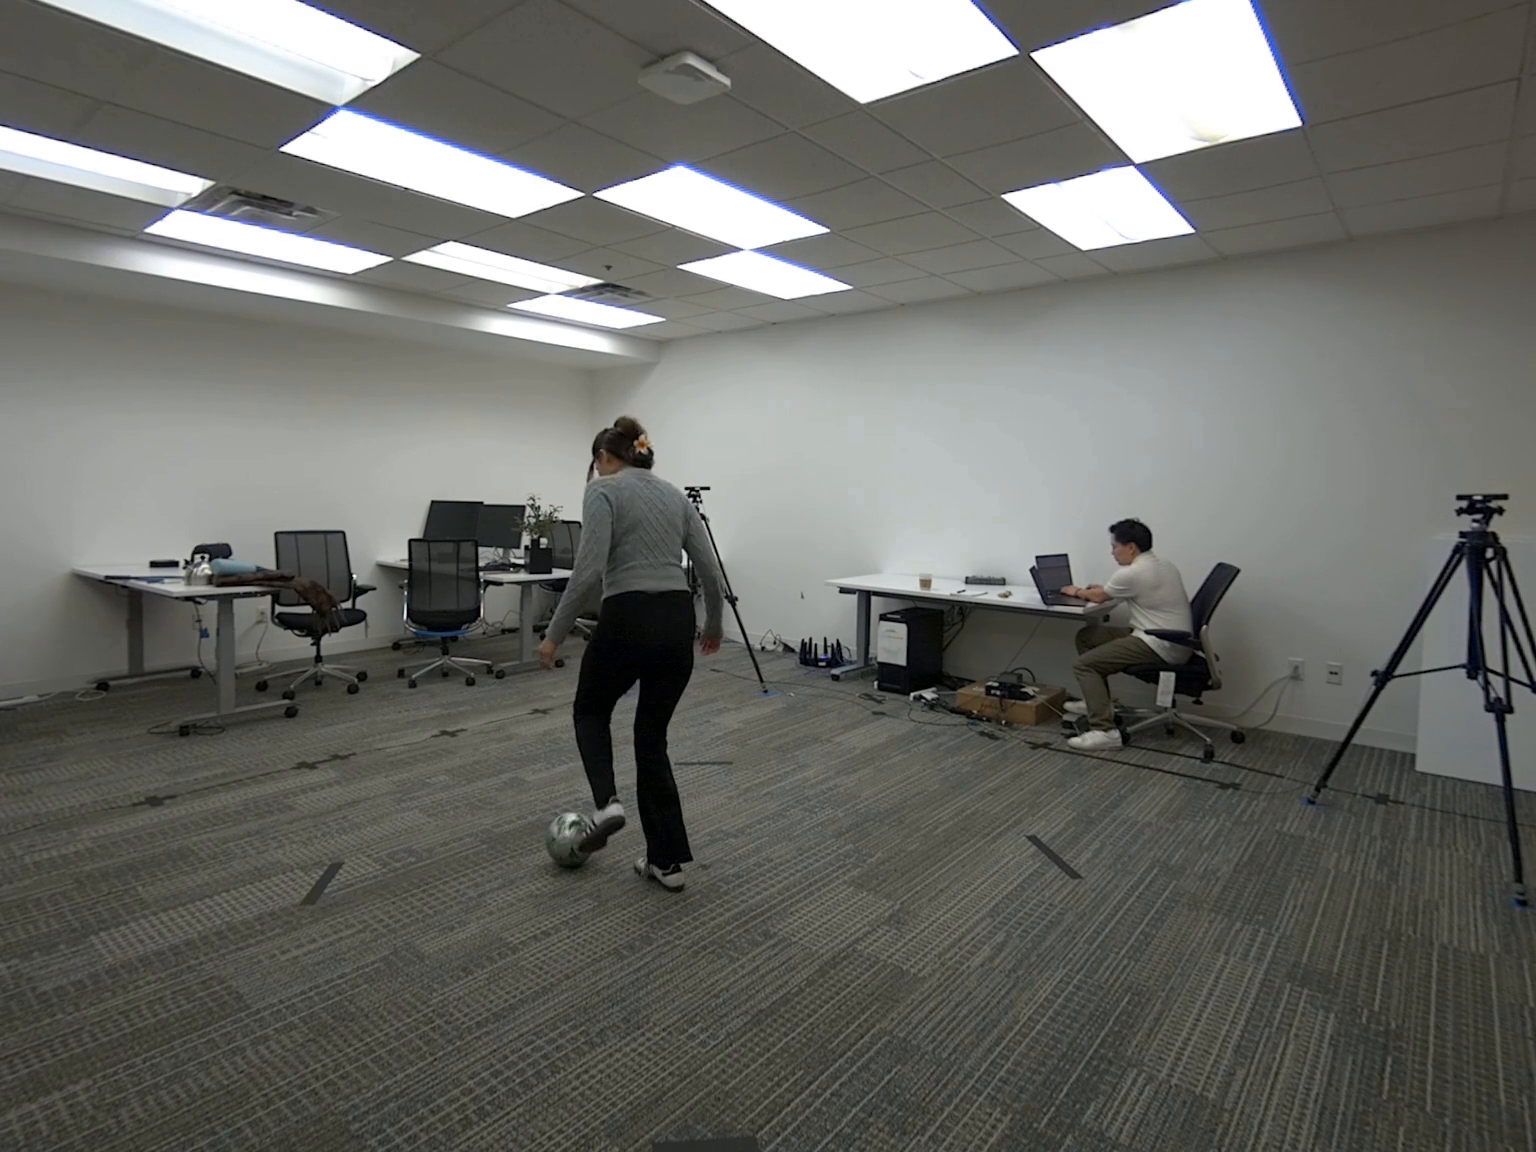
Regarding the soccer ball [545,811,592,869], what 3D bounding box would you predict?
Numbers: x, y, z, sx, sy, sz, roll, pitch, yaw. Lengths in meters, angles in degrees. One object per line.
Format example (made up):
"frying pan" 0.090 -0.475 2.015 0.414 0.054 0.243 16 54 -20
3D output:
"soccer ball" -0.730 0.961 3.133 0.187 0.187 0.188 1 4 -2
